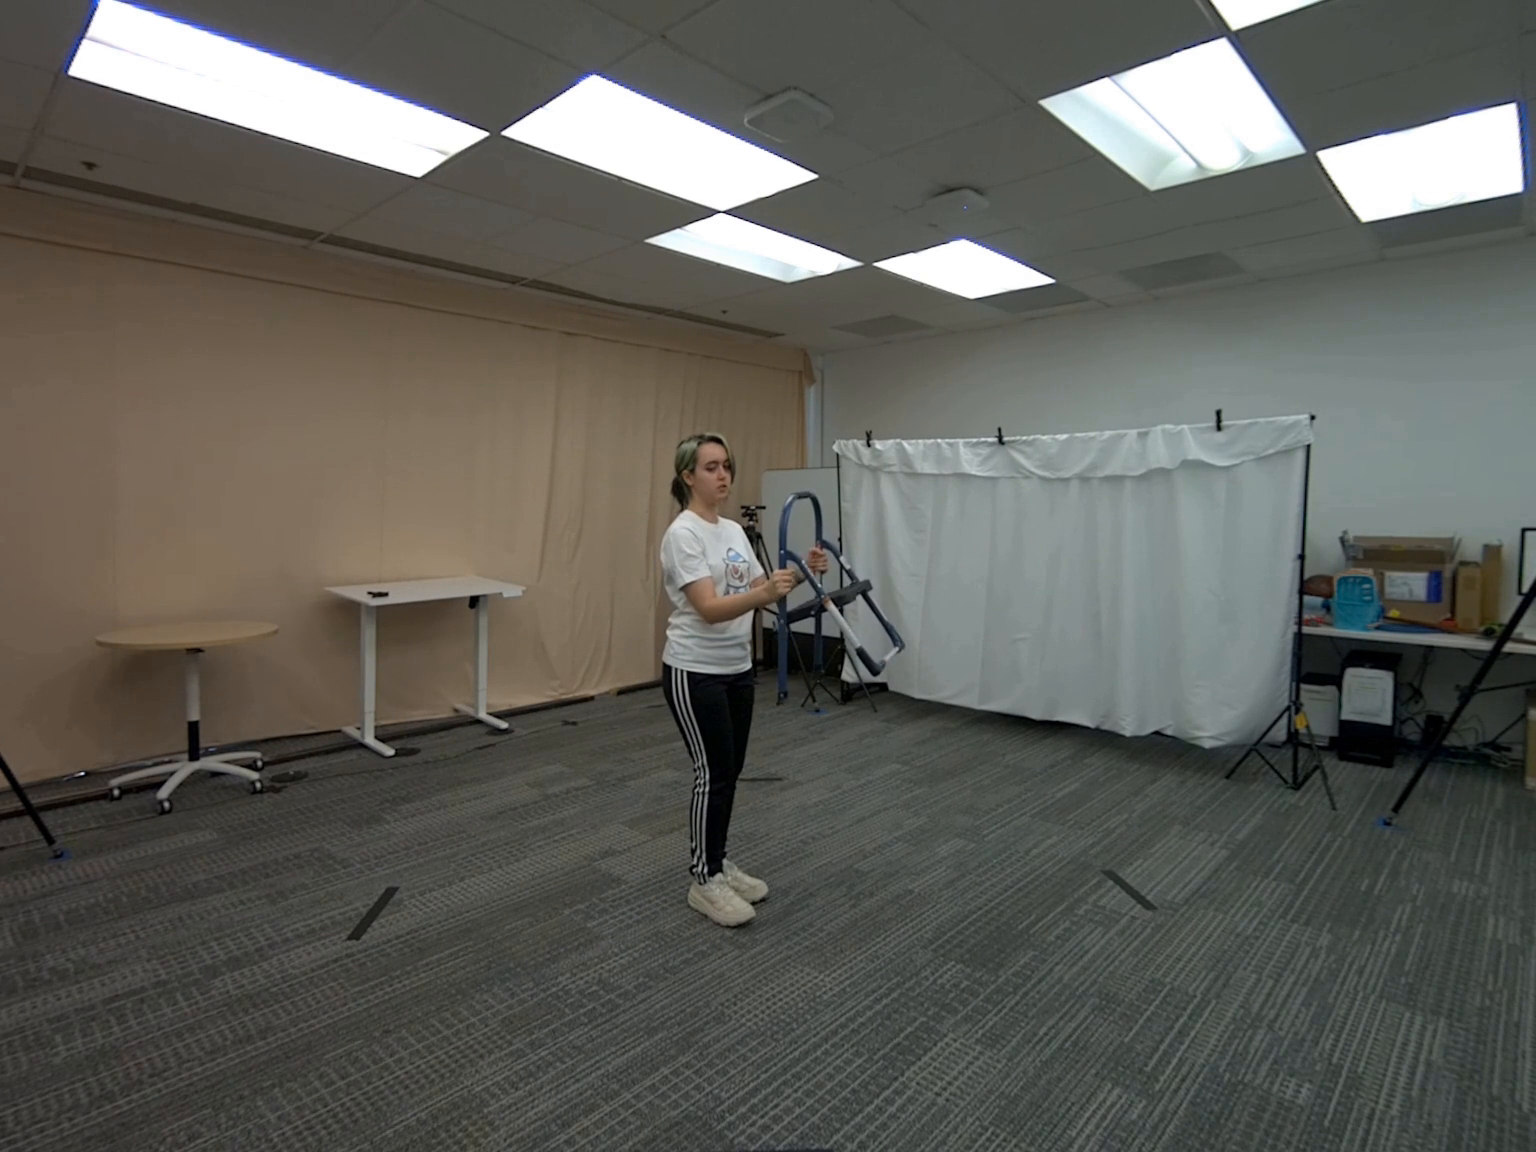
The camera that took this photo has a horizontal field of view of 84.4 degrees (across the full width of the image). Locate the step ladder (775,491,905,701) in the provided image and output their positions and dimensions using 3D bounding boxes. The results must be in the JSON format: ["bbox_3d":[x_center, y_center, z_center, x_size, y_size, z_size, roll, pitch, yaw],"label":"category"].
[{"bbox_3d":[0.153,0.038,2.744,0.355,0.607,0.422,-21,-2,22],"label":"step ladder"}]
